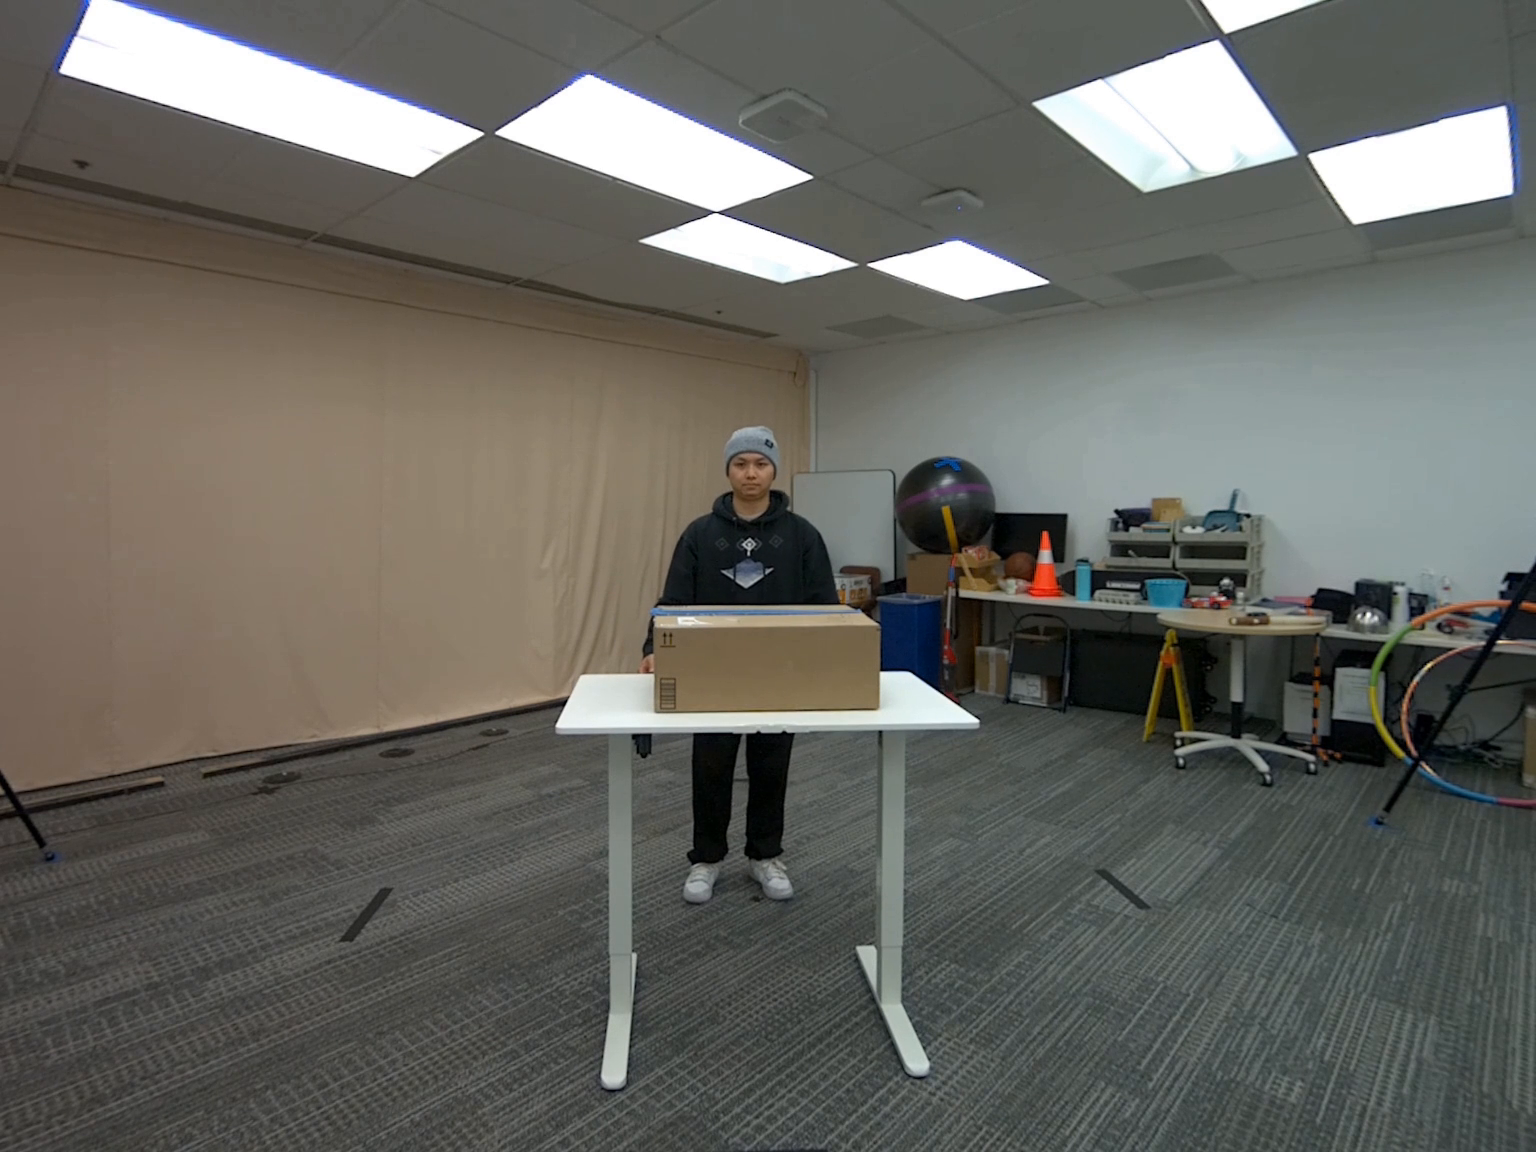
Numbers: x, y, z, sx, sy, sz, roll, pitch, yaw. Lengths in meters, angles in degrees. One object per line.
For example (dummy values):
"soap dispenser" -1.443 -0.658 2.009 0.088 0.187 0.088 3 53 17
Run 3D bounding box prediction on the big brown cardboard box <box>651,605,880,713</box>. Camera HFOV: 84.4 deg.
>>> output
"big brown cardboard box" -0.028 0.212 2.297 0.586 0.232 0.421 1 4 -5
